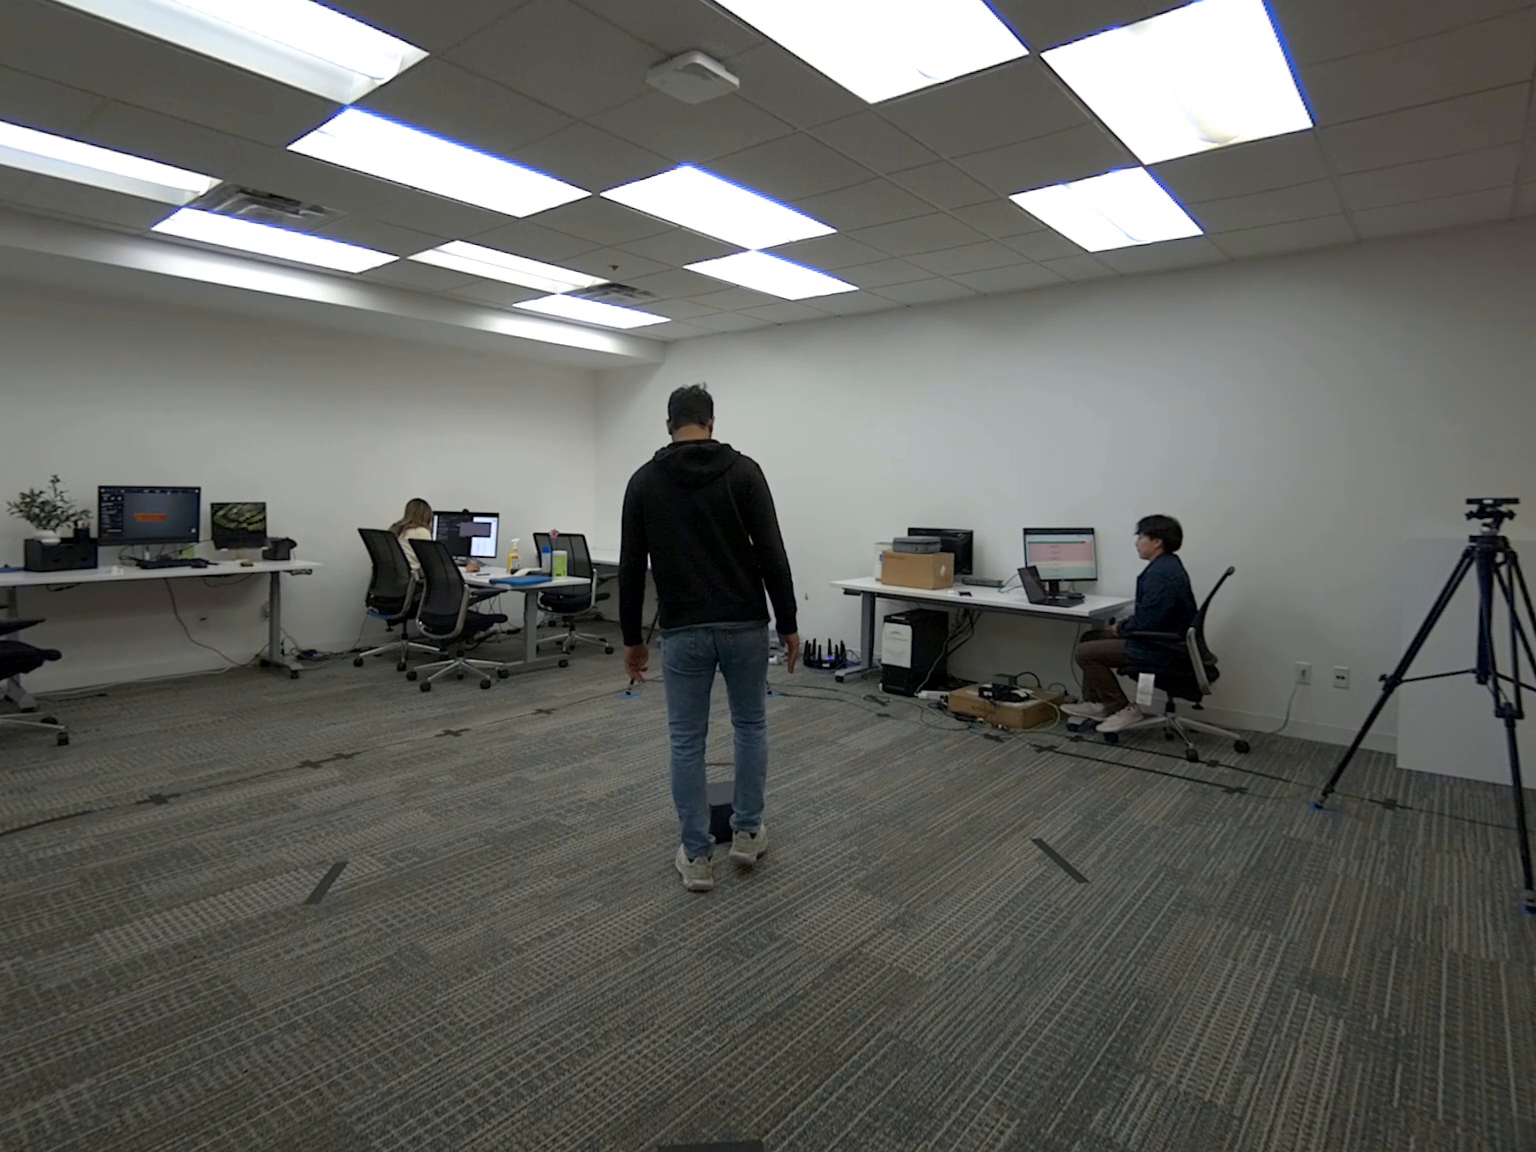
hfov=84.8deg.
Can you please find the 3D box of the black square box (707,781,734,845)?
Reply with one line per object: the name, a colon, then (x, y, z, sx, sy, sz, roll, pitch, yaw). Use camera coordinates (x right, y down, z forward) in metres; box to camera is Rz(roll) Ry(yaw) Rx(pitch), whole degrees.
black square box: (-0.175, 0.946, 3.452, 0.211, 0.155, 0.234, -2, 5, -28)
